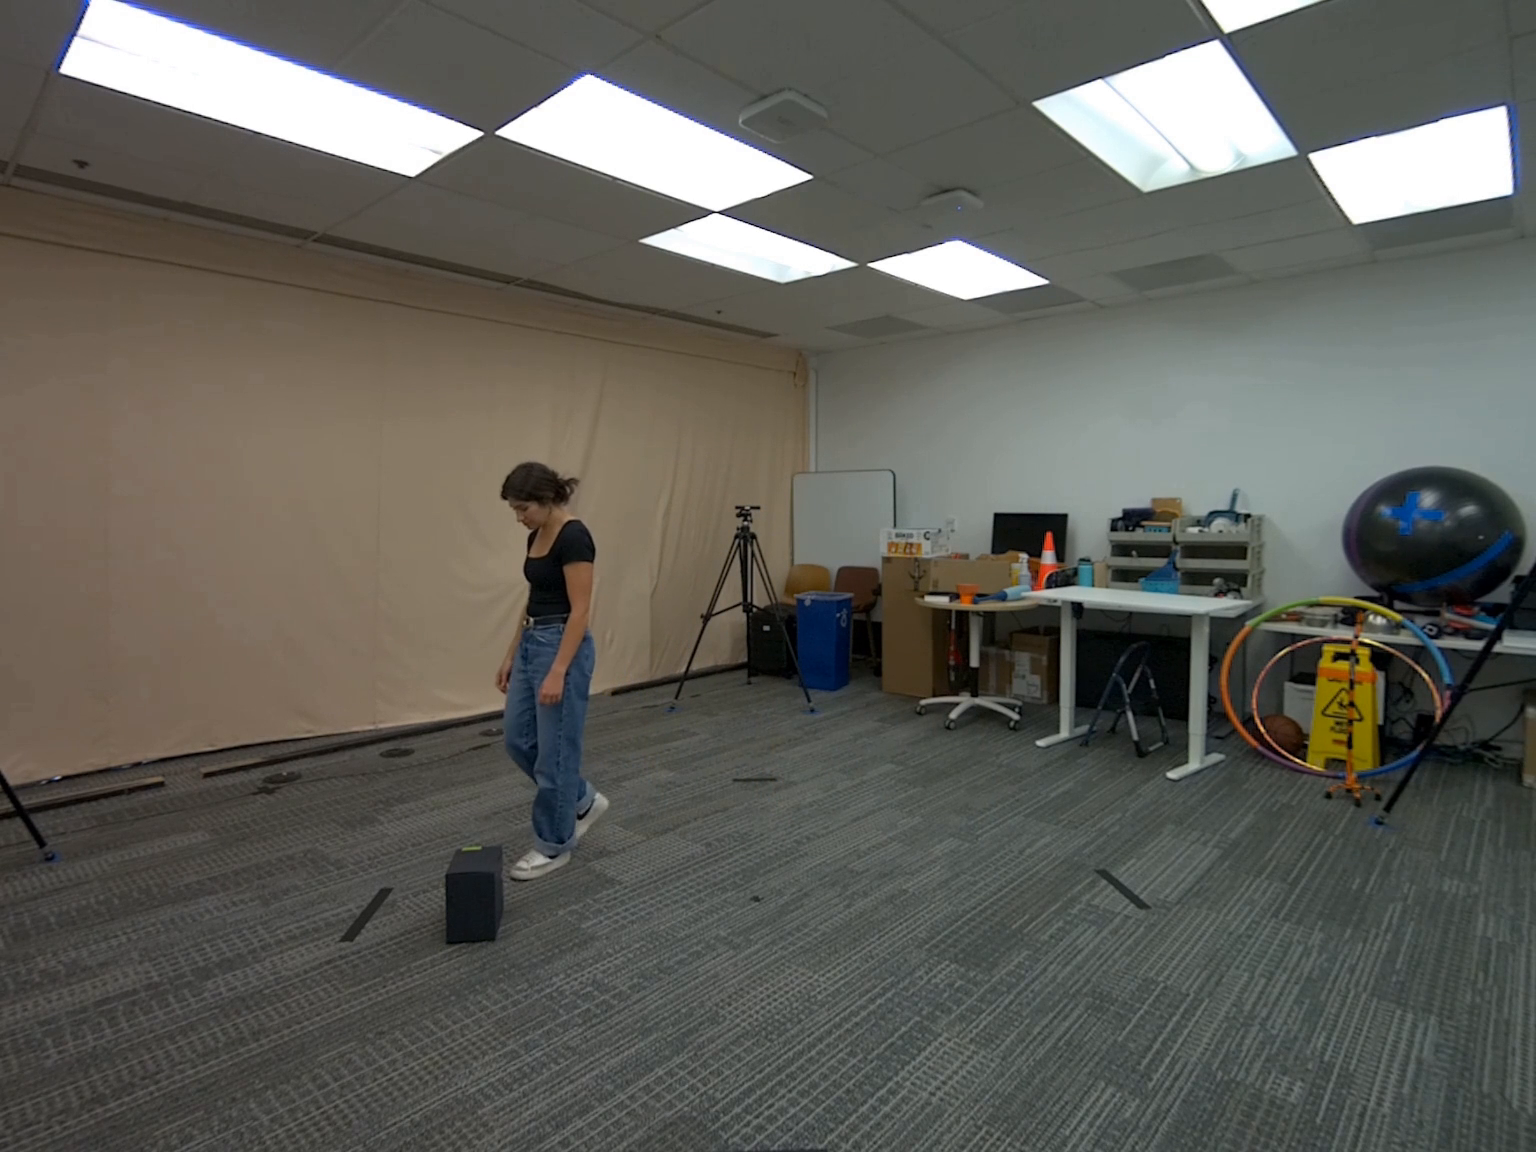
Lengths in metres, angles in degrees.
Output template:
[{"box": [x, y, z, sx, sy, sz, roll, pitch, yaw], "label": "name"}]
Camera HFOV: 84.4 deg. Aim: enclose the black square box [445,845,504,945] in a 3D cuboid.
[{"box": [-0.968, 1.041, 2.794, 0.154, 0.227, 0.219, 0, 3, -9], "label": "black square box"}]
